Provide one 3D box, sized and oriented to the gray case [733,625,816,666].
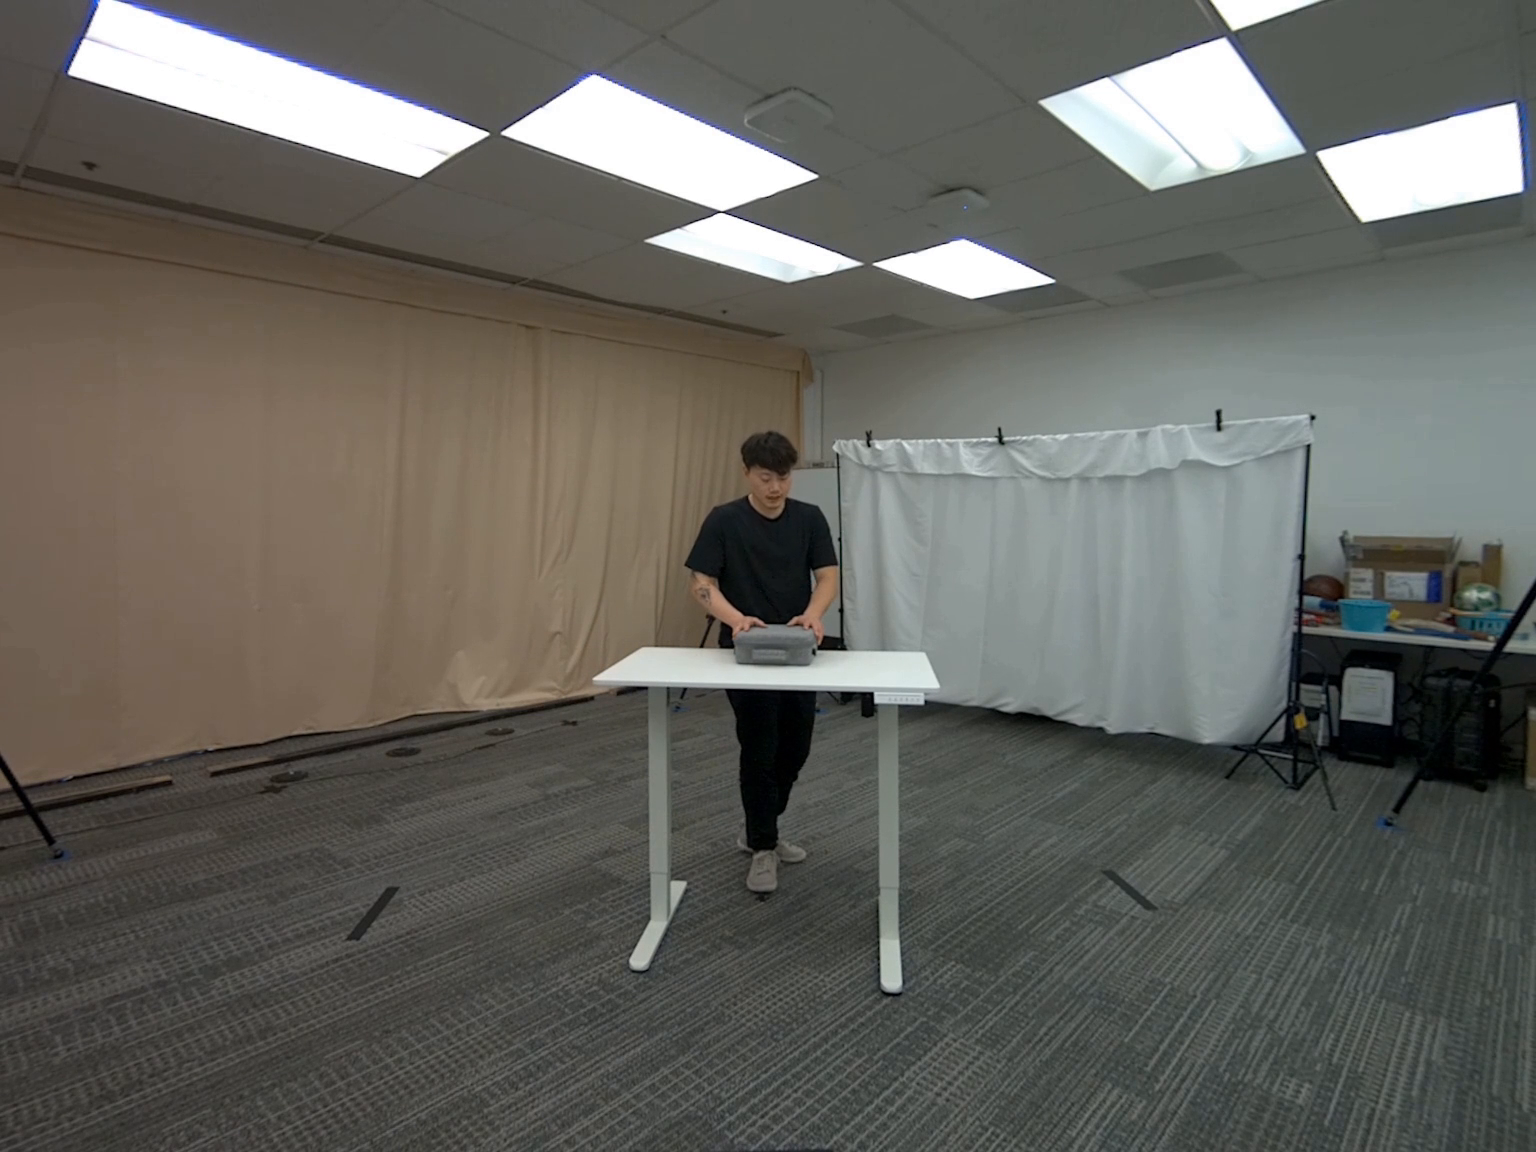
[{"bbox_3d":[0.031,0.227,2.793,0.260,0.104,0.258,2,4,10],"label":"gray case"}]
